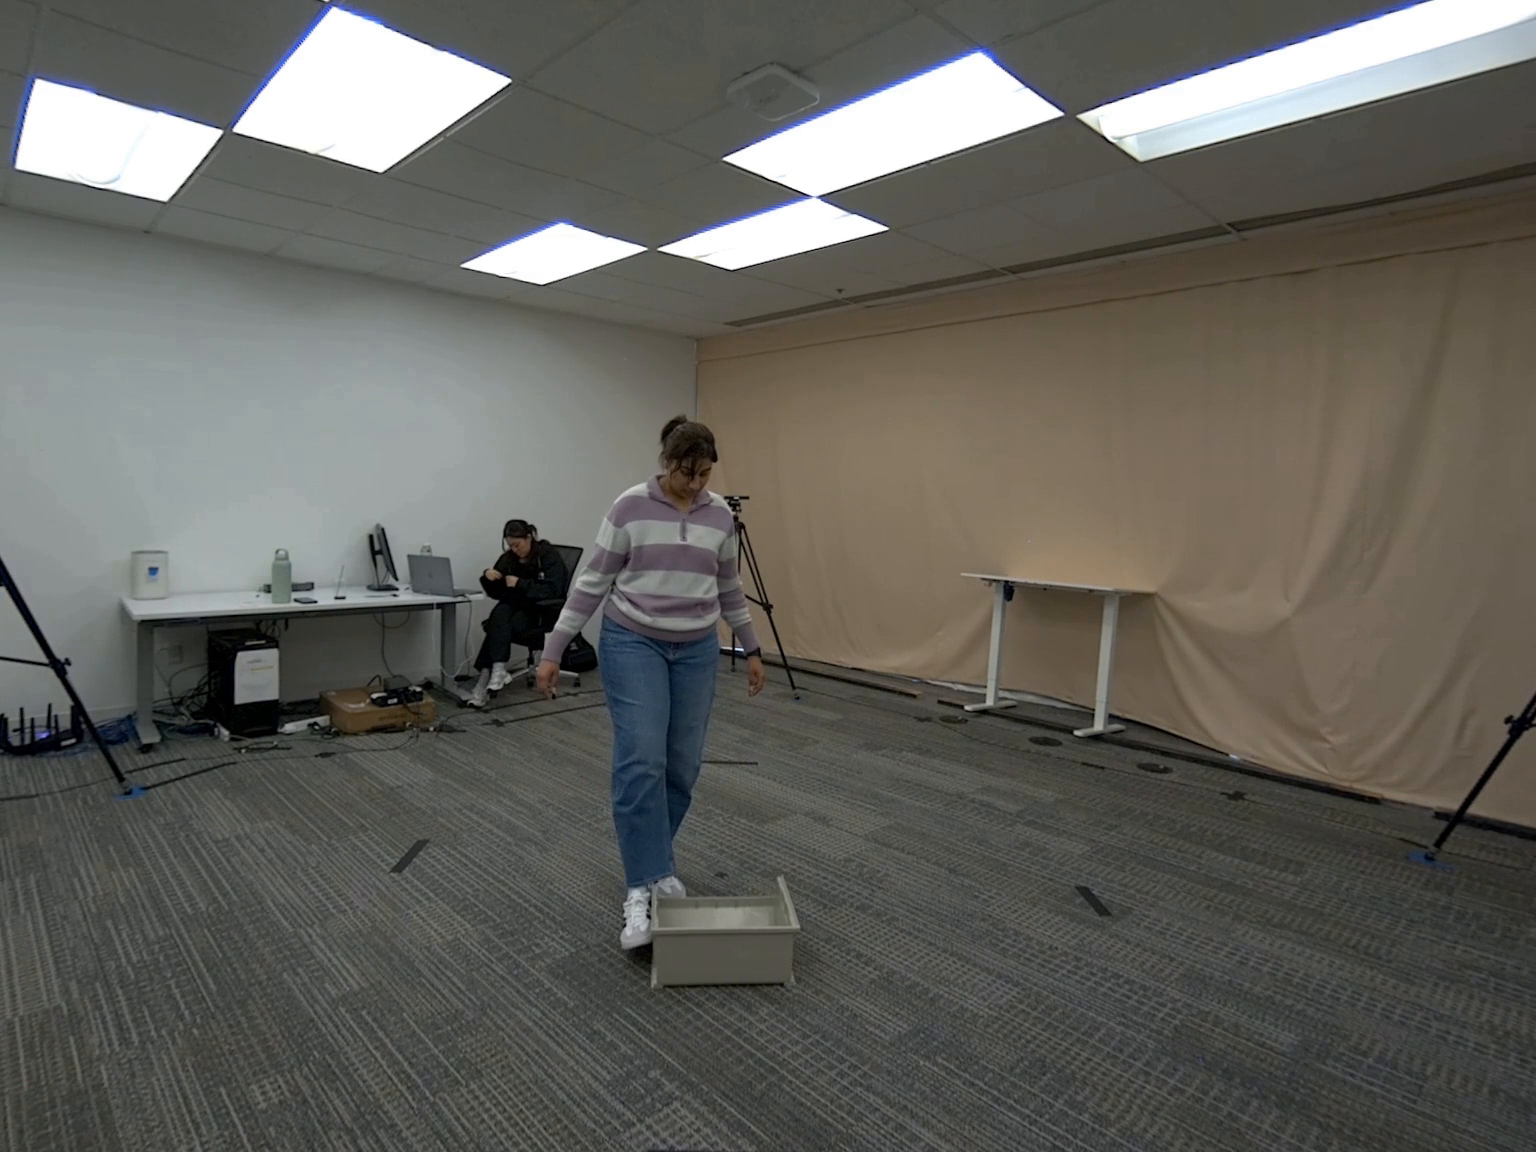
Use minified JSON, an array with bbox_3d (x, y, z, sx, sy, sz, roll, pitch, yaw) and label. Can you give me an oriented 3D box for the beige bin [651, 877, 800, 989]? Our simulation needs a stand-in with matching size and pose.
[{"bbox_3d":[-0.151,1.073,2.554,0.420,0.188,0.380,0,5,-6],"label":"beige bin"}]
